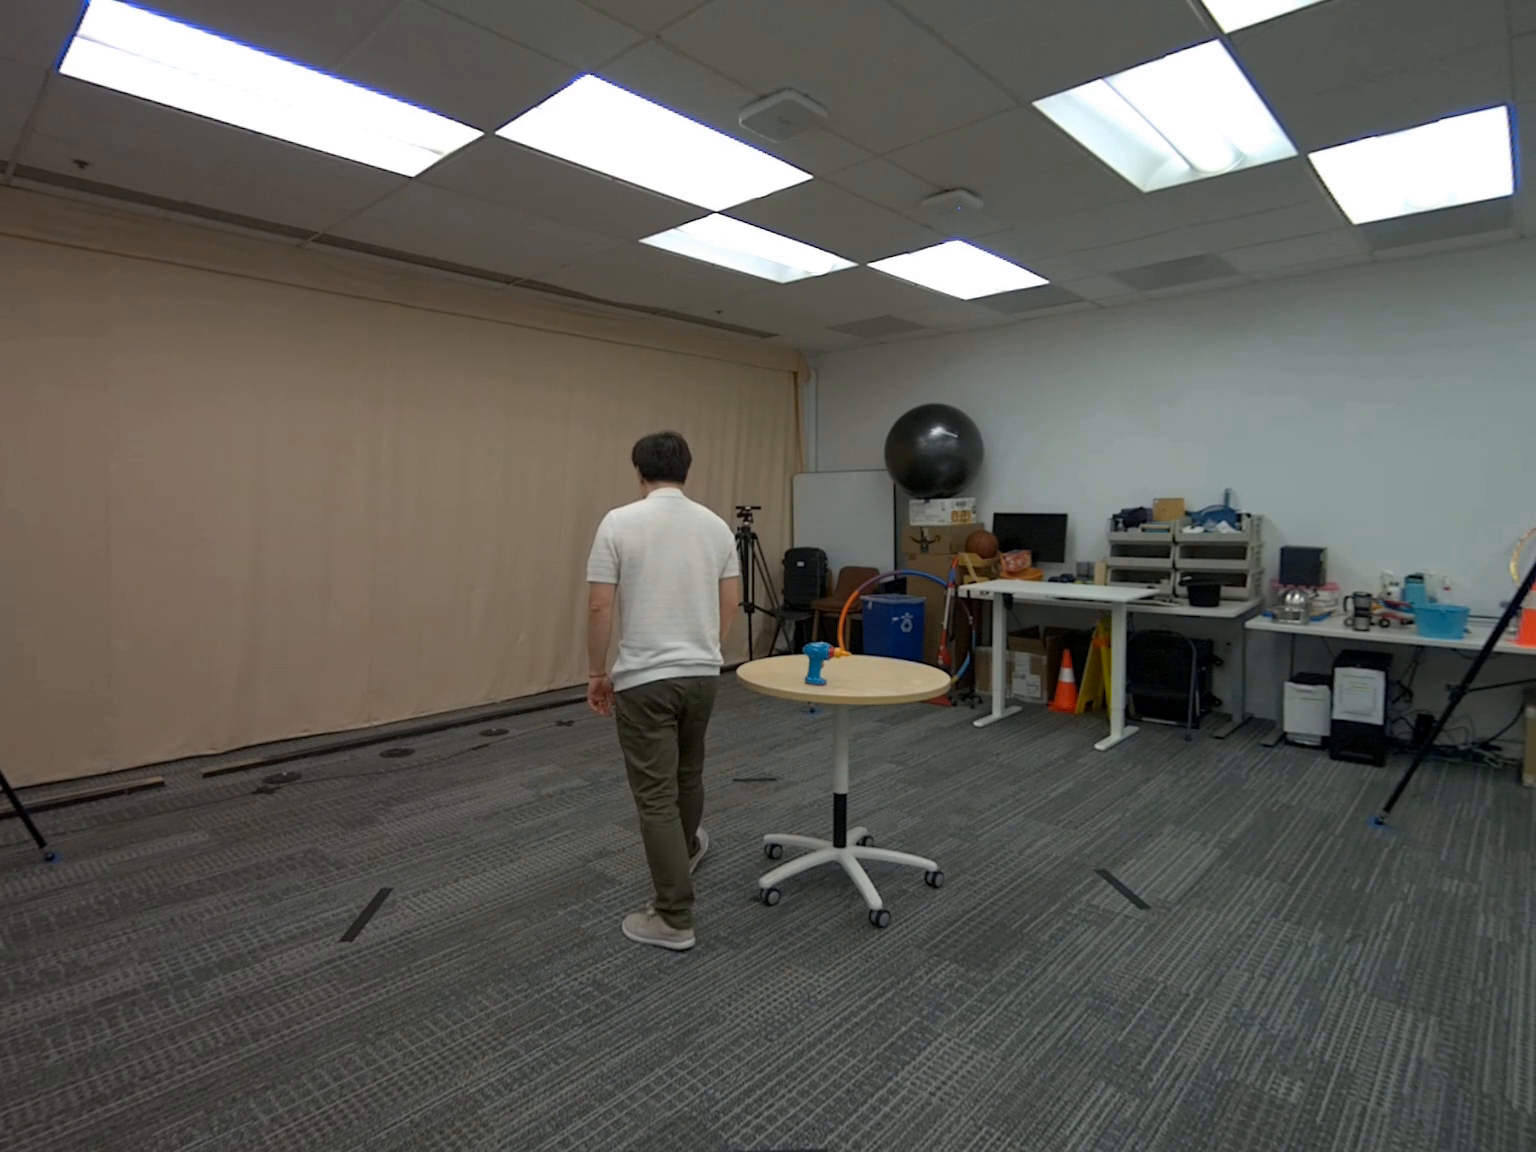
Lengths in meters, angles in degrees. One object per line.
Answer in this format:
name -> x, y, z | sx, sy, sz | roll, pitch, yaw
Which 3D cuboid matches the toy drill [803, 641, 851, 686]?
toy drill -> 0.203, 0.297, 2.847 | 0.172, 0.146, 0.060 | 1, 4, 15
